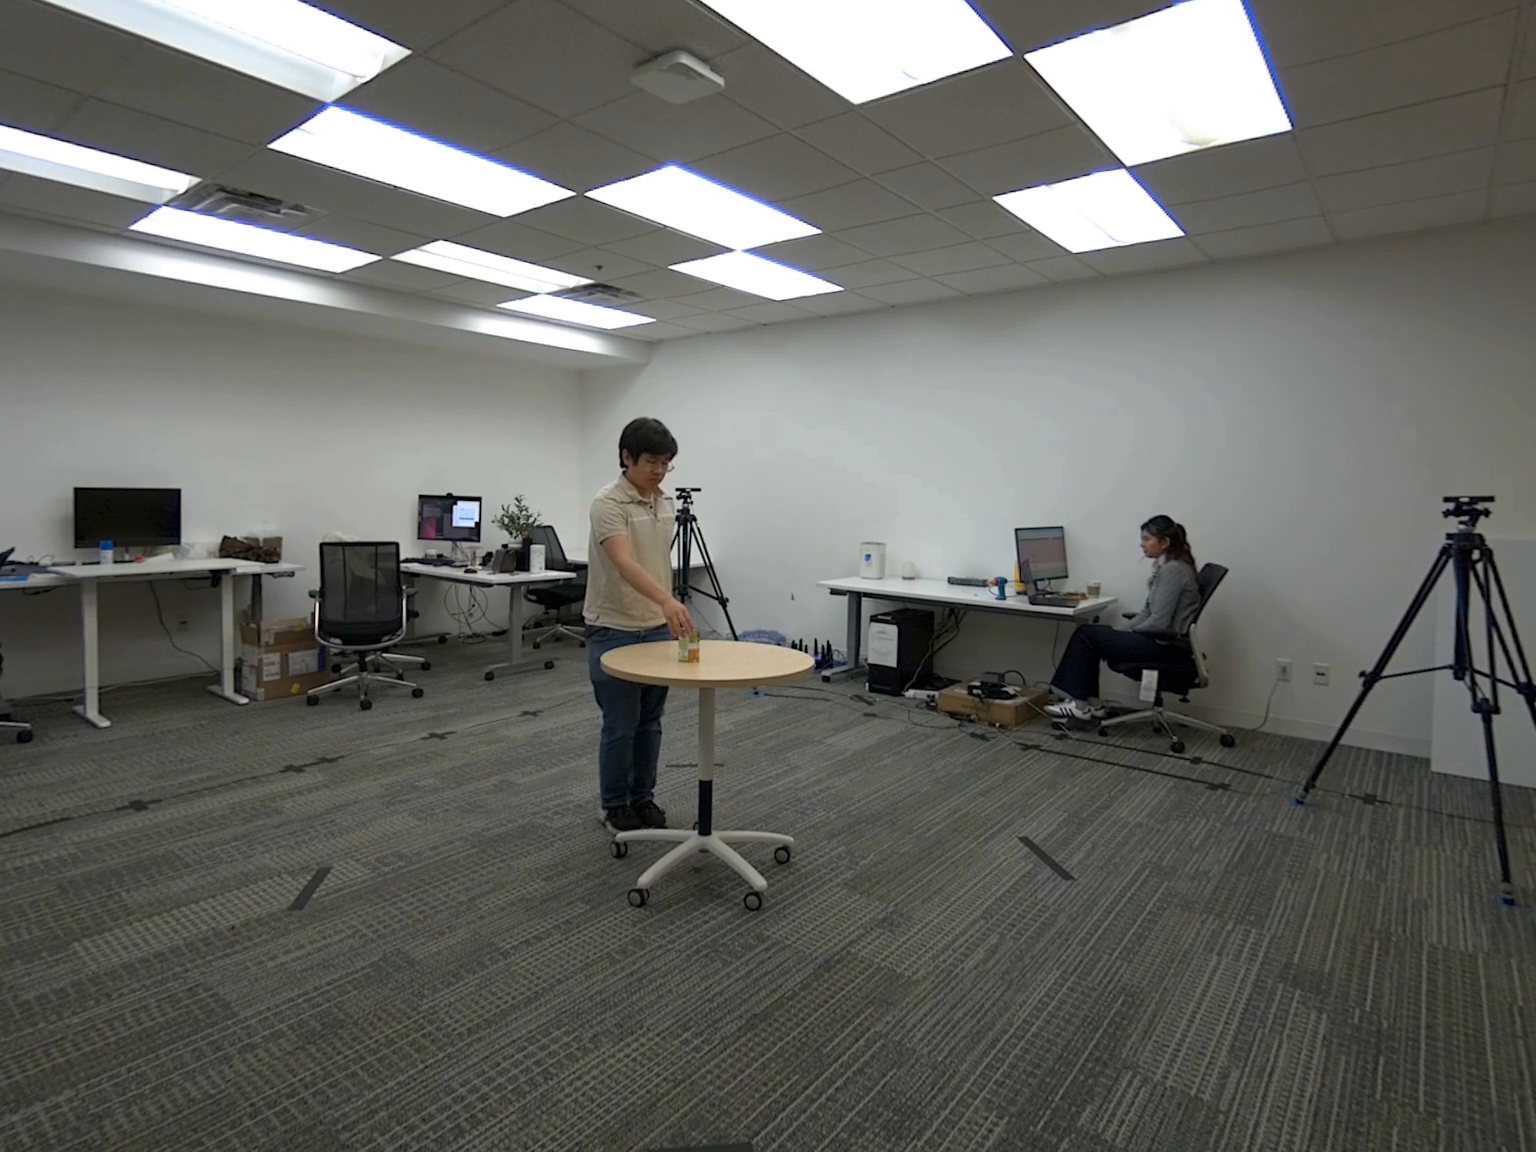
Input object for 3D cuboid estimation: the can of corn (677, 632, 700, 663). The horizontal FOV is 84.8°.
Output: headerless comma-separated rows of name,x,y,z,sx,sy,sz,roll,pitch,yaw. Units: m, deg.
can of corn,-0.291,0.240,2.988,0.074,0.111,0.074,0,3,-2
